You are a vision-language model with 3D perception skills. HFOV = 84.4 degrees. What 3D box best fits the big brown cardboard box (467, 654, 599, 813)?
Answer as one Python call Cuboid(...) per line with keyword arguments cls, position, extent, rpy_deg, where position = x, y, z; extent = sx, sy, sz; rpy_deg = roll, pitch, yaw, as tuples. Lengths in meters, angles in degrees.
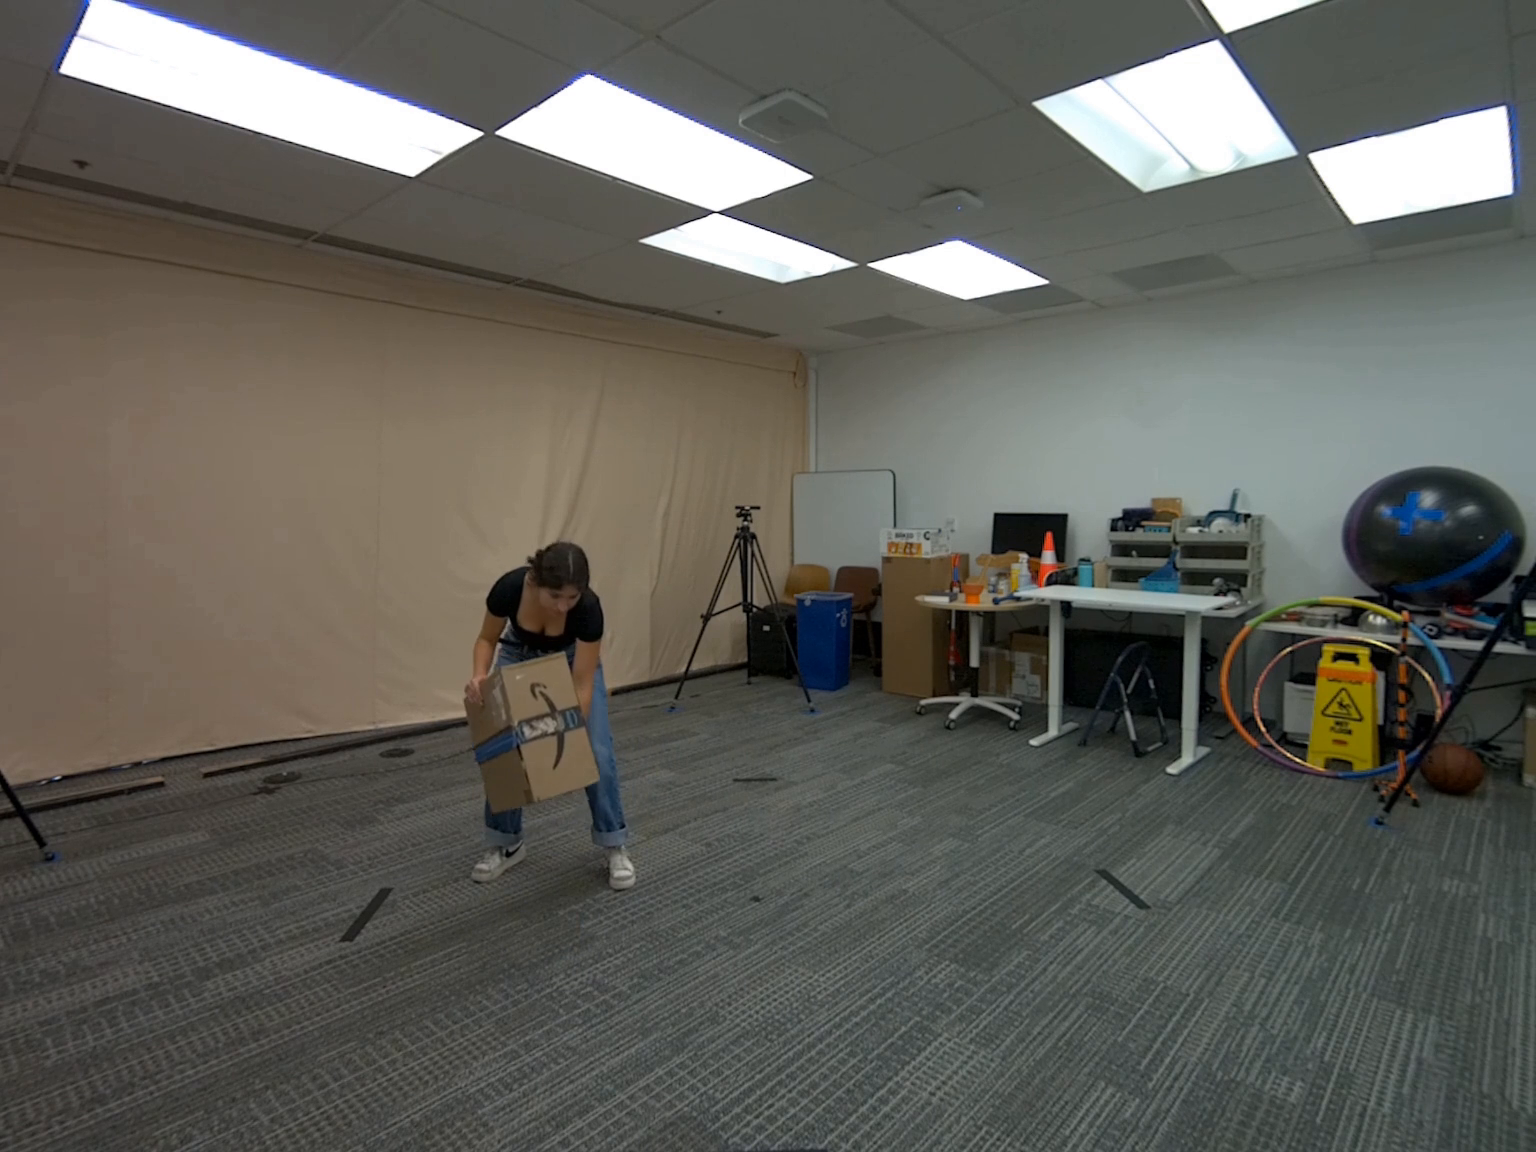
Cuboid(cls="big brown cardboard box", position=(-0.804, 0.535, 2.786), extent=(0.227, 0.422, 0.598), rpy_deg=(-12, -11, -33))
